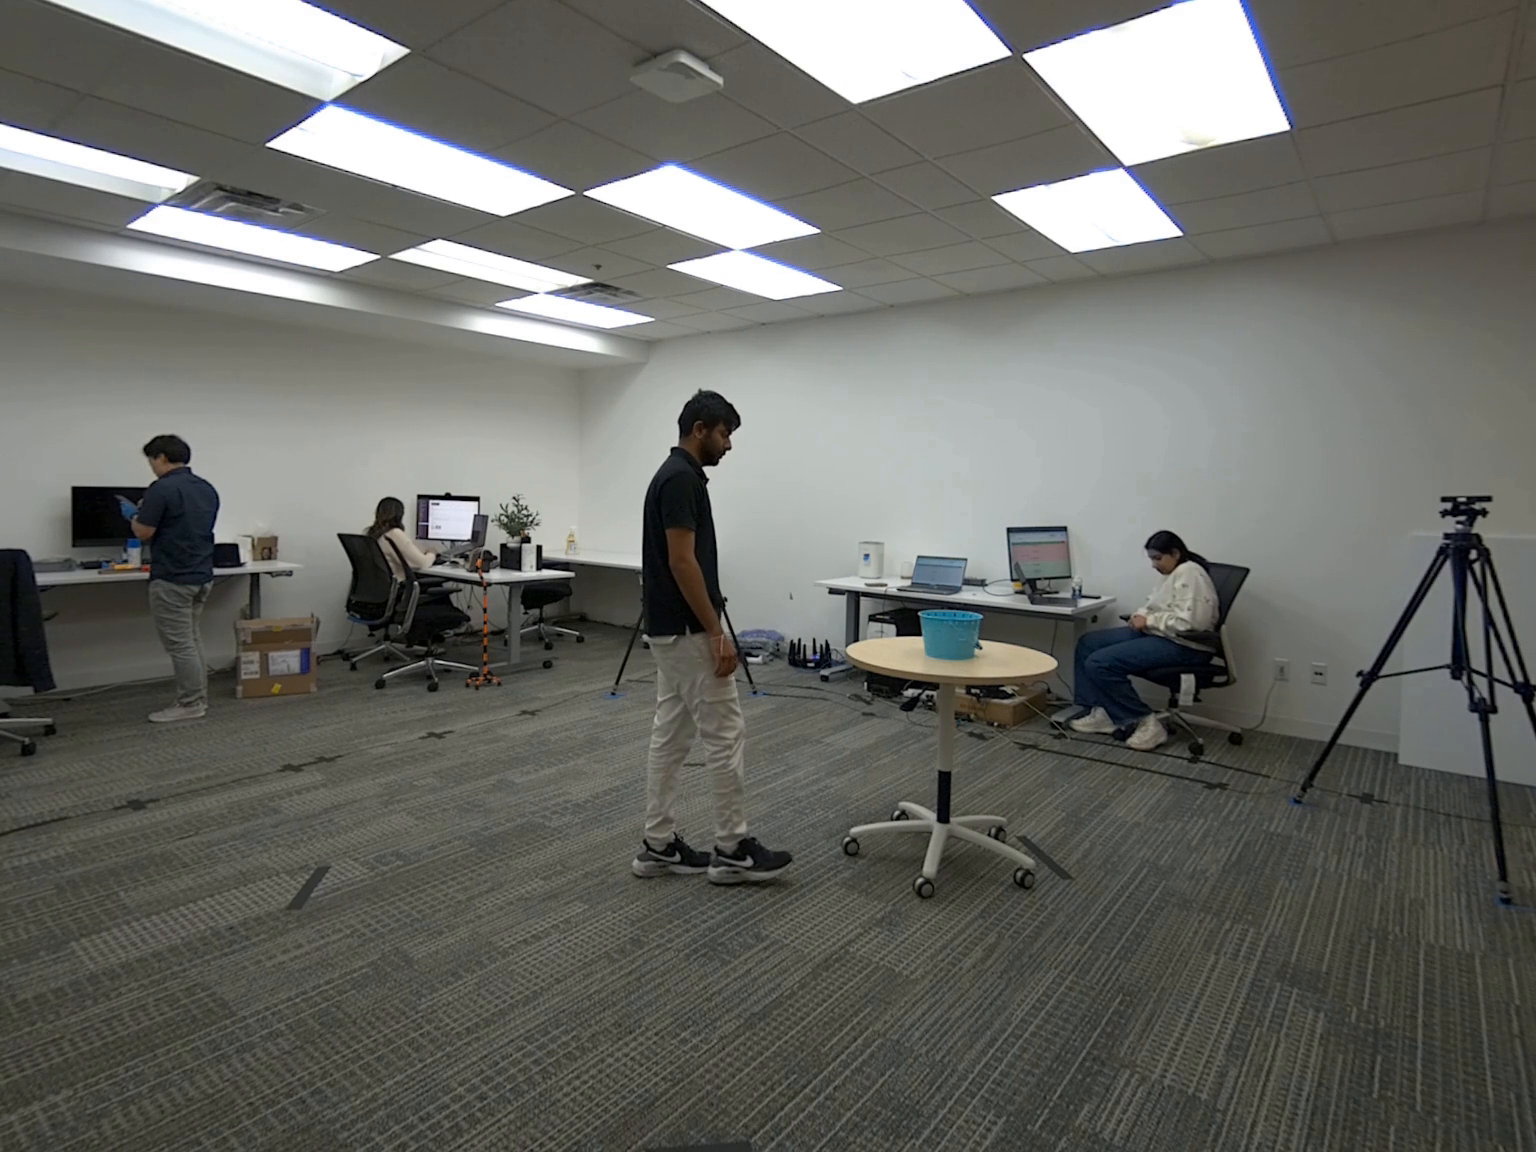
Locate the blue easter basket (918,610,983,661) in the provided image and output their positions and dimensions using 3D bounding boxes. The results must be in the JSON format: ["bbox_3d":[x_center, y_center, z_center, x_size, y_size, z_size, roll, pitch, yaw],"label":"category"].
[{"bbox_3d":[0.682,0.220,3.197,0.243,0.155,0.245,0,4,-2],"label":"blue easter basket"}]
